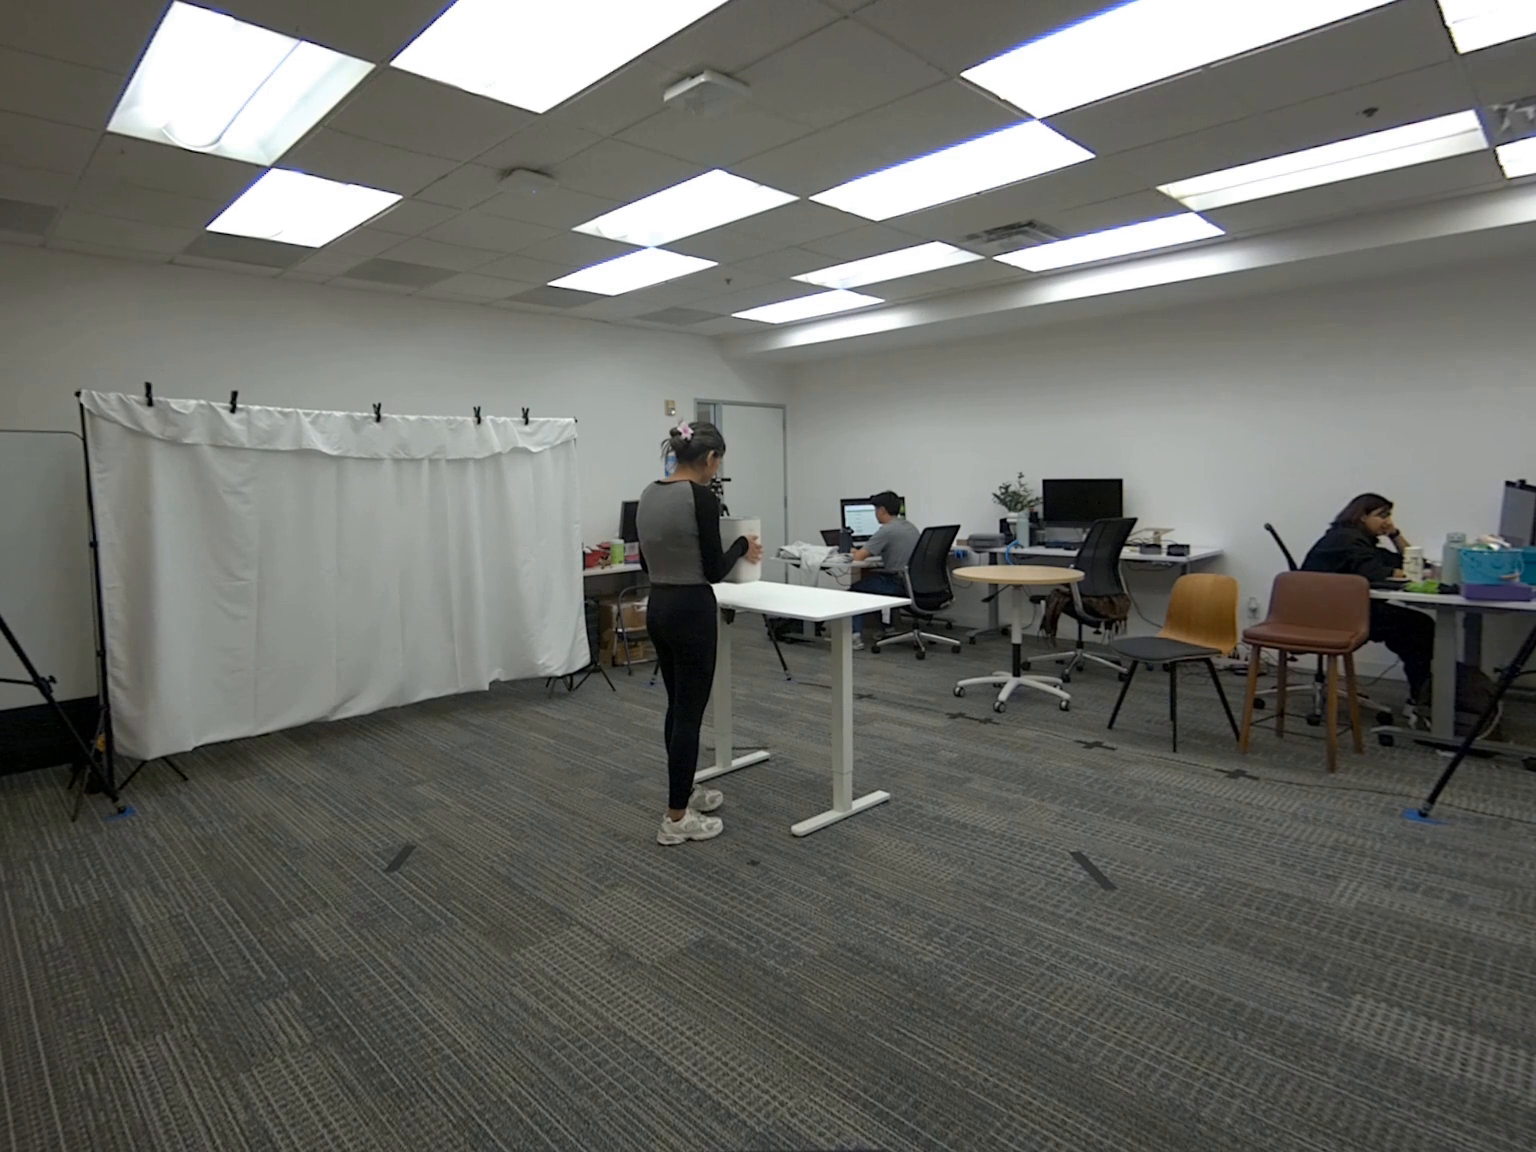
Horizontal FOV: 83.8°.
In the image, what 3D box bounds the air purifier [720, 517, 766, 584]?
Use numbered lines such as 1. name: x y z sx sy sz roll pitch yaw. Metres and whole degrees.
1. air purifier: -0.135 -0.106 3.513 0.177 0.264 0.167 4 6 38
